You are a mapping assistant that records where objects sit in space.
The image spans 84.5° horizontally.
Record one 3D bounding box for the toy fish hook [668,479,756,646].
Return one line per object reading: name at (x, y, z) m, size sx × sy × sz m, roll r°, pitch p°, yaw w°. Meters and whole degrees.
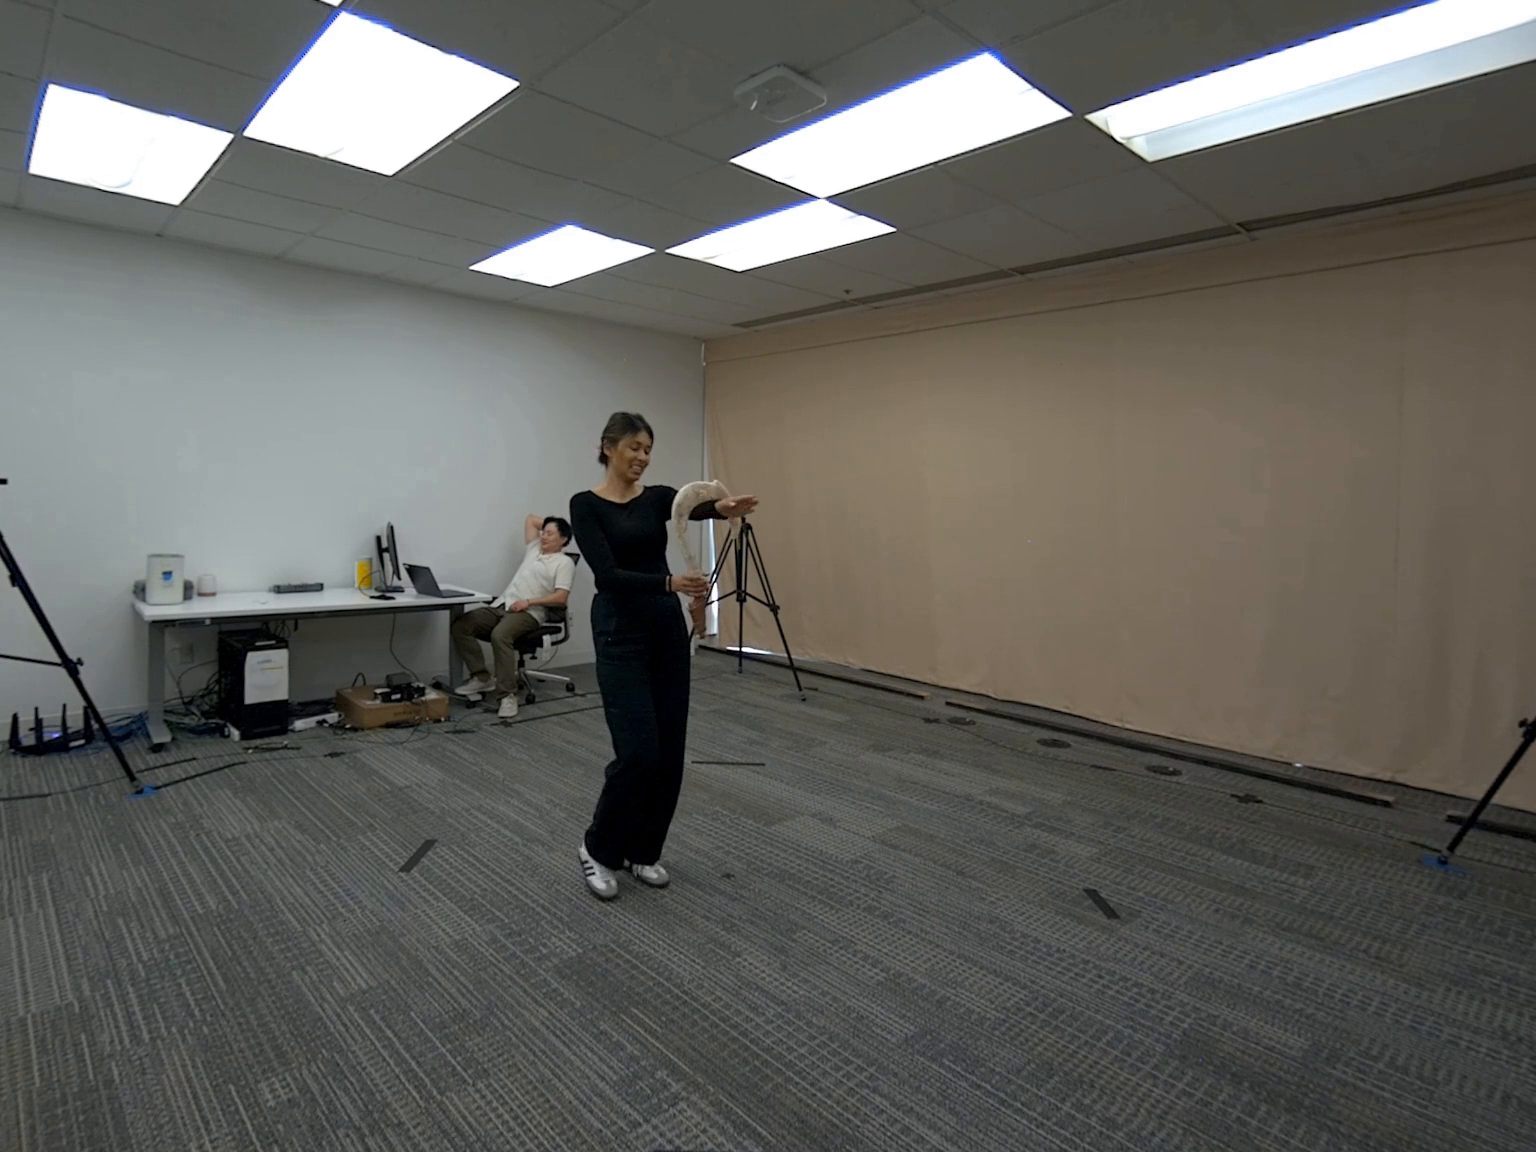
toy fish hook at (-0.179, -0.045, 2.697) m, size 0.223 × 0.503 × 0.049 m, roll -7°, pitch 7°, yaw -12°
